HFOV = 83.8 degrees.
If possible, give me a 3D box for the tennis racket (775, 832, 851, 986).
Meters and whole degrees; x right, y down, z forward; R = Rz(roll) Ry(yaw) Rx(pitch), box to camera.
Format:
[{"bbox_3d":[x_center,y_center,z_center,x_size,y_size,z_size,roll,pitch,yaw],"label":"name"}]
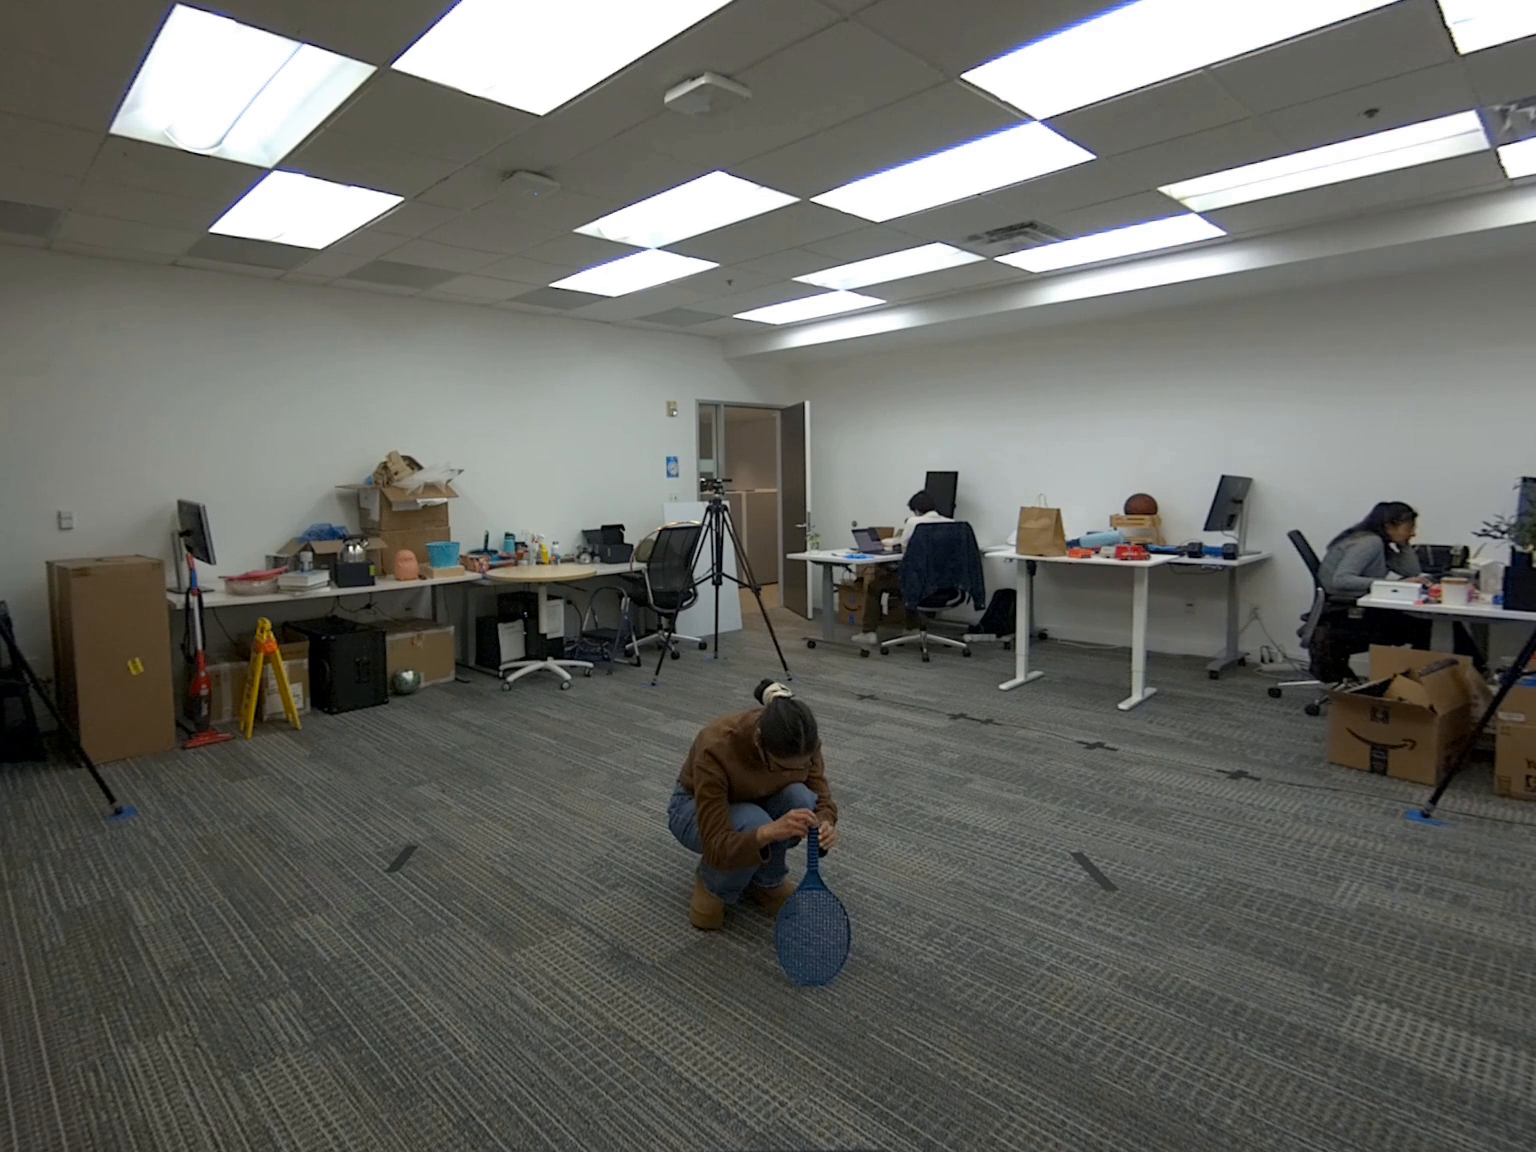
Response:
[{"bbox_3d":[0.112,0.913,2.373,0.213,0.434,0.032,-1,-2,-3],"label":"tennis racket"}]
